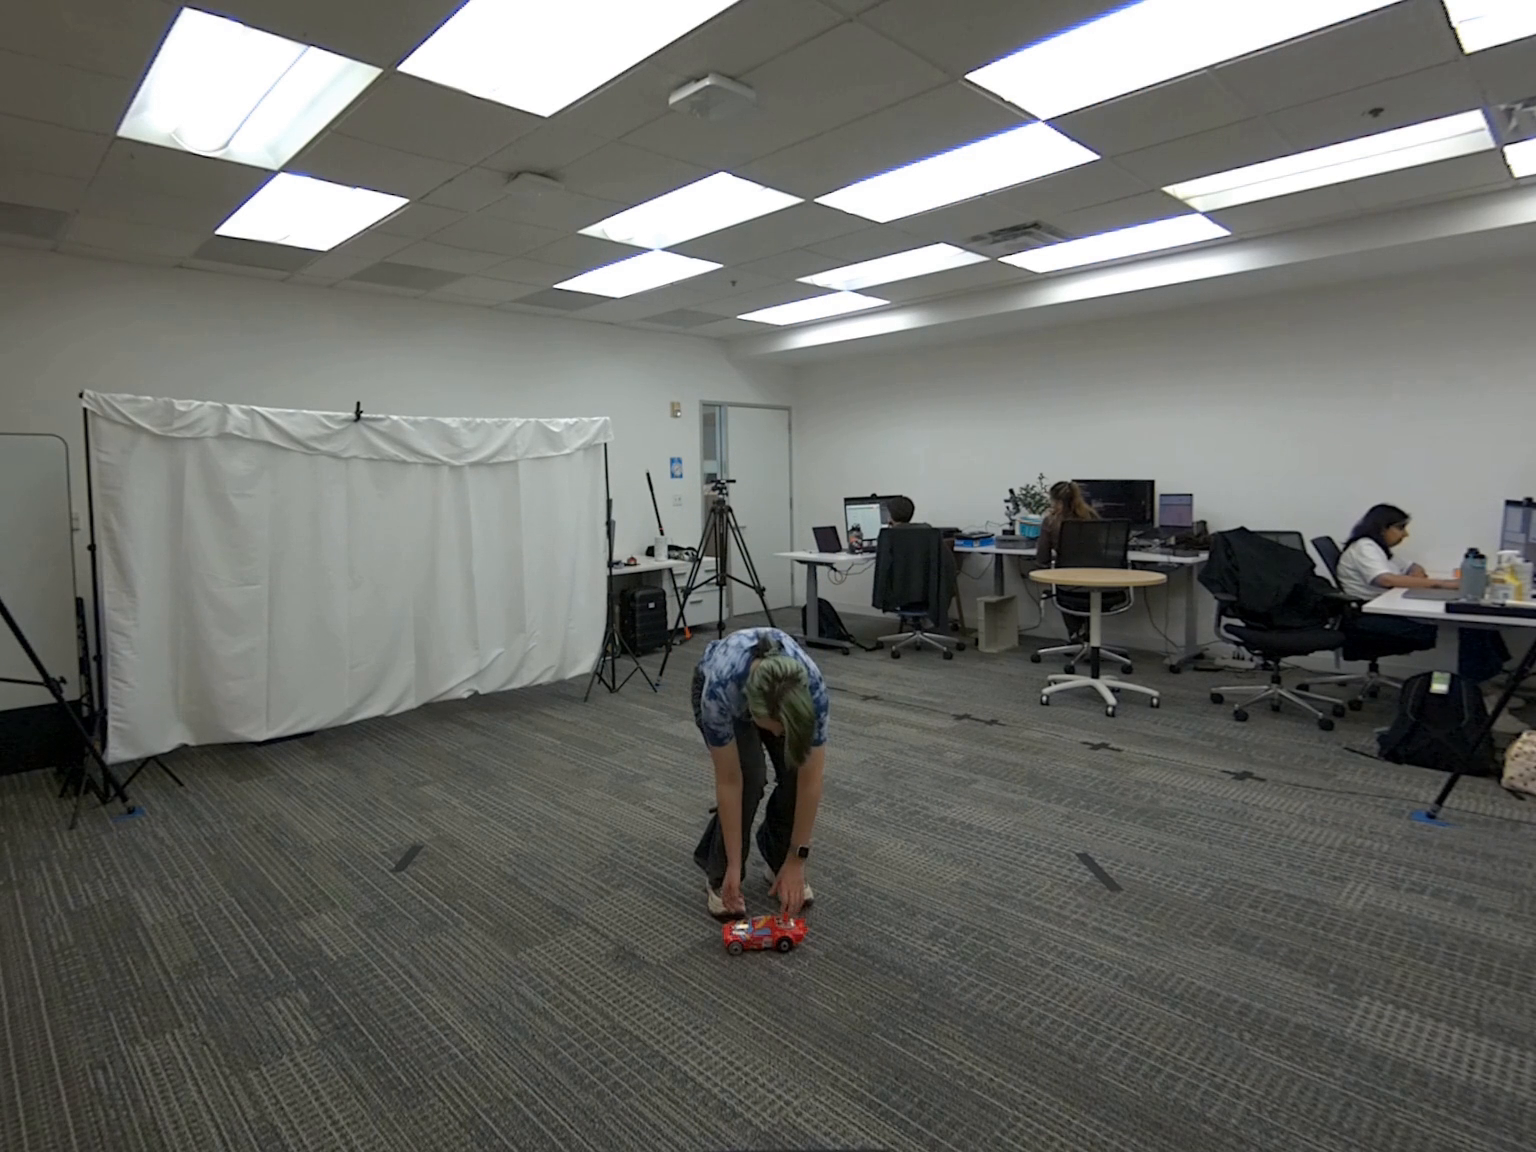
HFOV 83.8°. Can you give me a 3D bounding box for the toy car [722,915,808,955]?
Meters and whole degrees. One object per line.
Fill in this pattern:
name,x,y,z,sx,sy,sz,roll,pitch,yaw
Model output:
toy car,-0.007,1.083,2.570,0.254,0.083,0.131,-12,6,-2
